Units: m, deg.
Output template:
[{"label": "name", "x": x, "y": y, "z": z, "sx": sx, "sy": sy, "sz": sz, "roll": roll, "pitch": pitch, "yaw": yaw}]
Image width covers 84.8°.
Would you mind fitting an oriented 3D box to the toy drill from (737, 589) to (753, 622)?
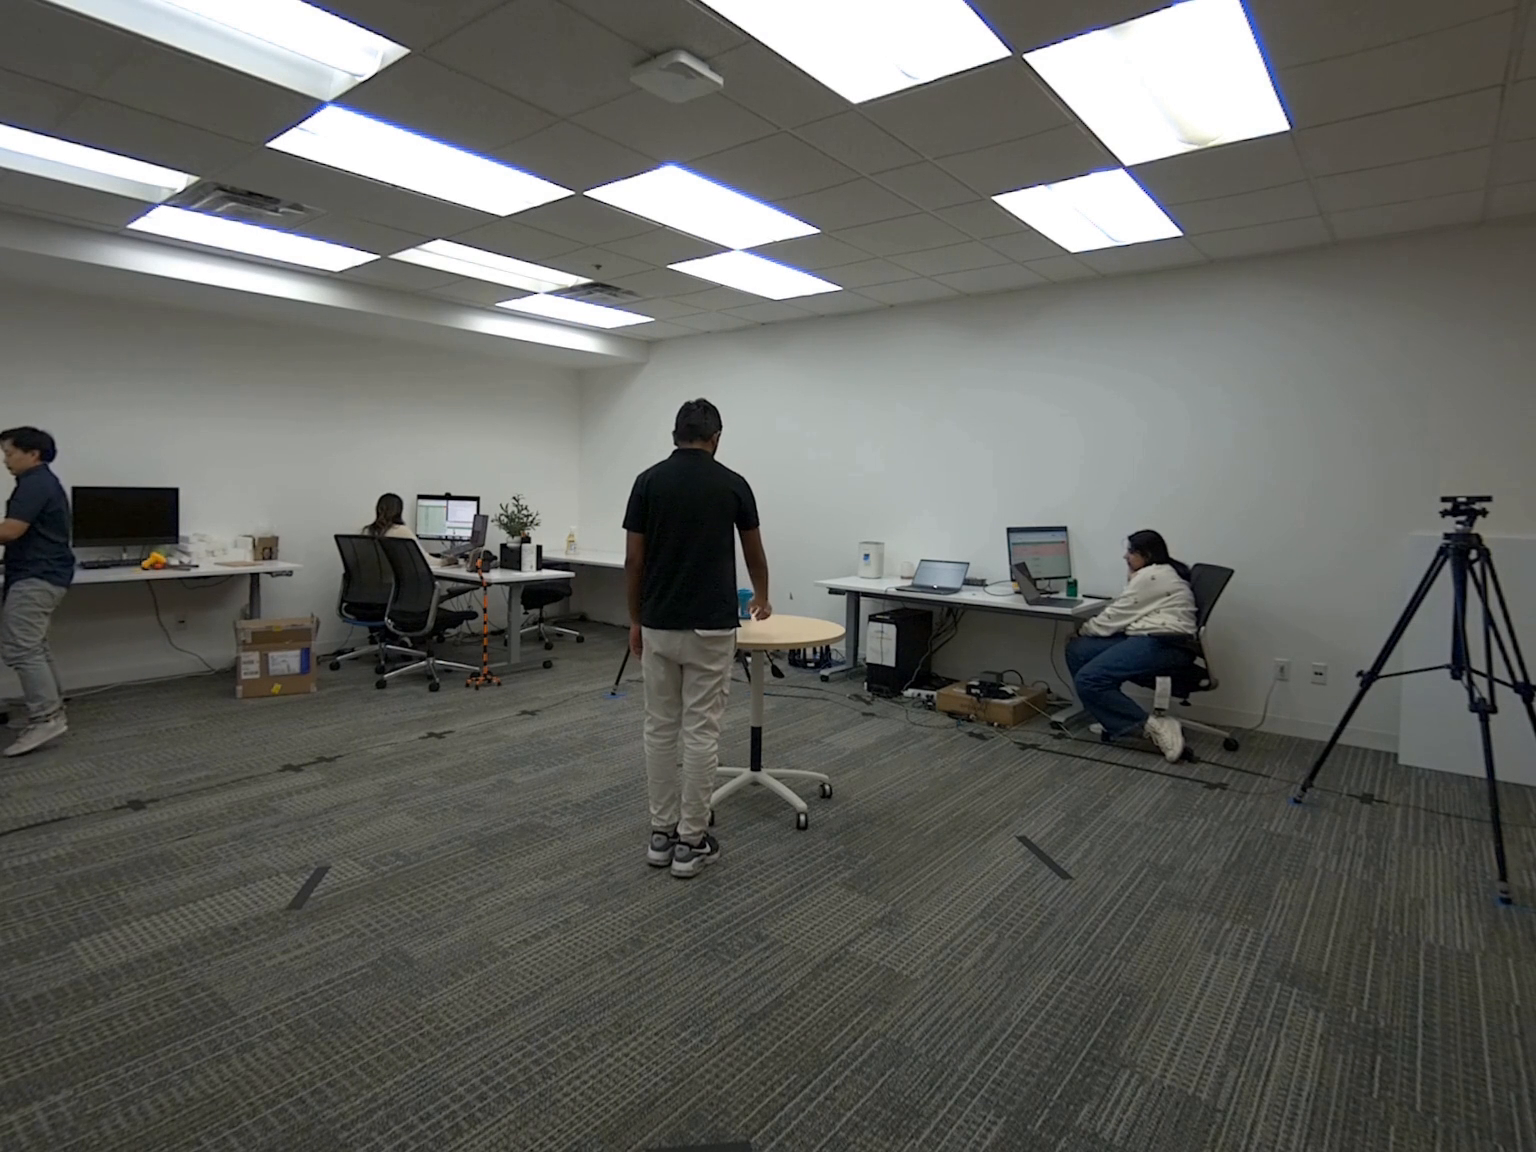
[{"label": "toy drill", "x": -0.164, "y": 0.125, "z": 3.967, "sx": 0.167, "sy": 0.145, "sz": 0.062, "roll": -1, "pitch": 3, "yaw": -12}]
